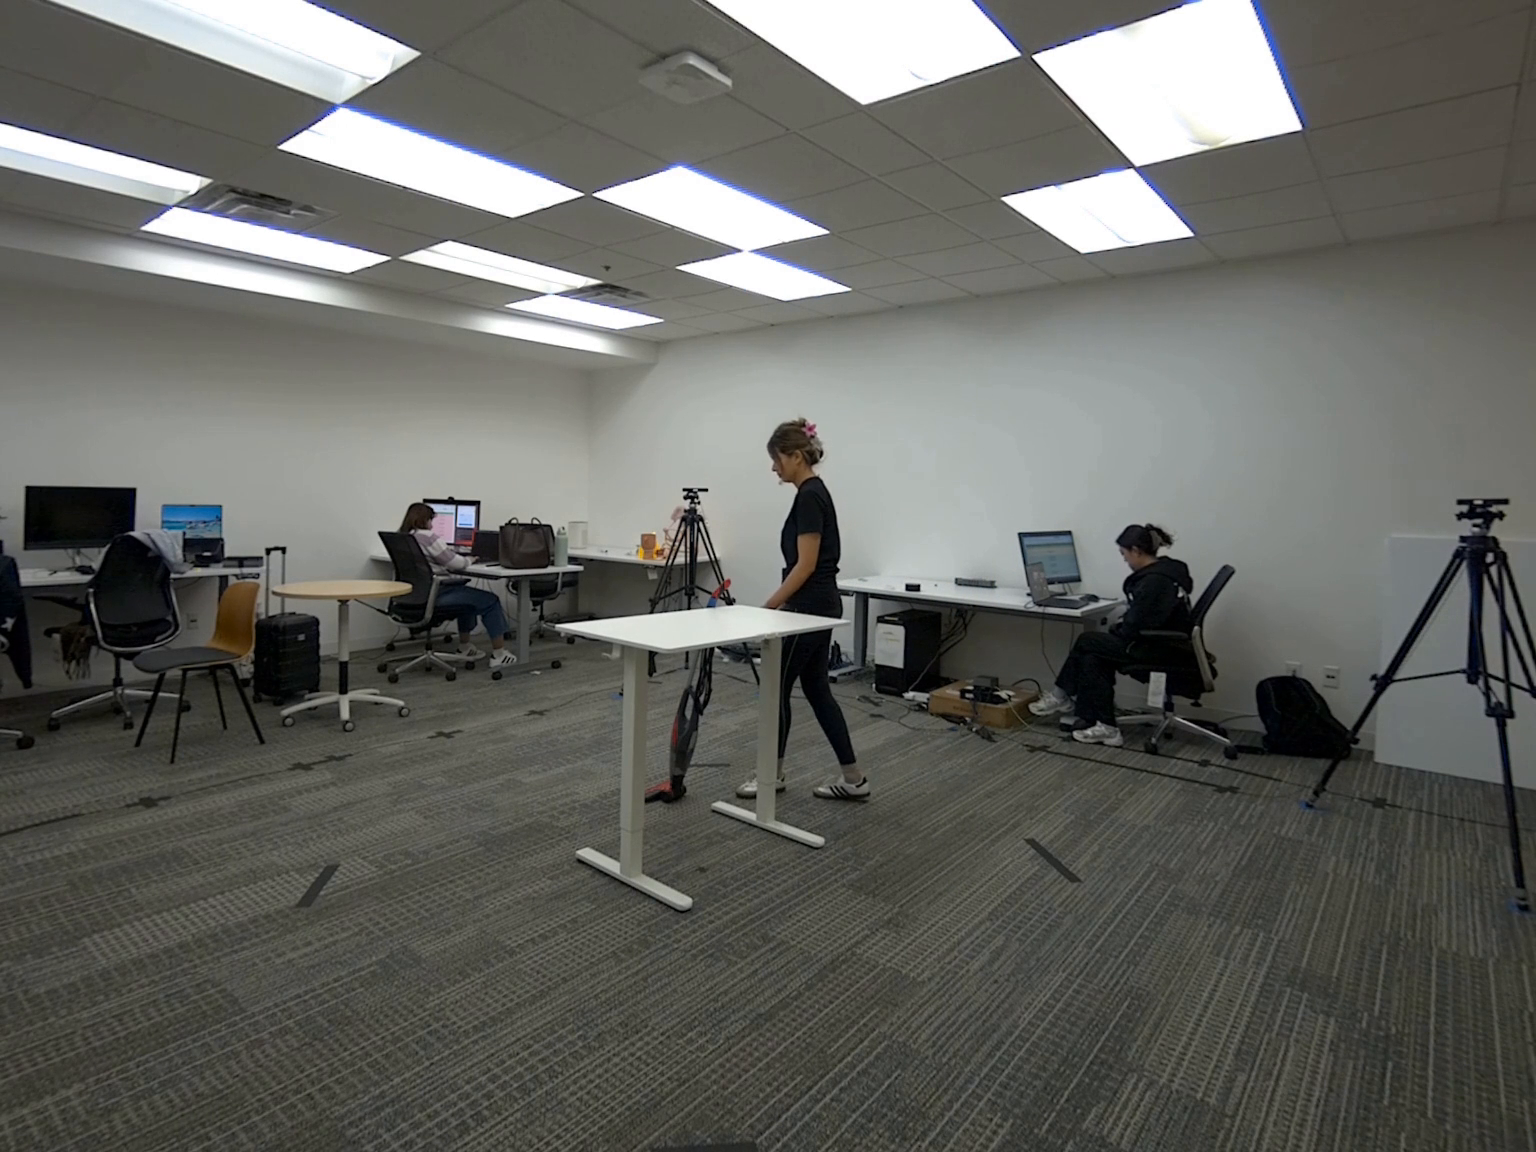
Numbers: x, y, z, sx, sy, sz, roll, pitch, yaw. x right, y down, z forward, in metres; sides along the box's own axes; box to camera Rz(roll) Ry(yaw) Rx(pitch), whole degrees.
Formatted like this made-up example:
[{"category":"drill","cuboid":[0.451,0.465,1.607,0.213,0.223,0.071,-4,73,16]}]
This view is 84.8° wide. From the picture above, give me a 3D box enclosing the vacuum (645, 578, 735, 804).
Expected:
[{"category":"vacuum","cuboid":[-0.332,0.510,3.751,0.149,1.041,0.246,23,14,26]}]
